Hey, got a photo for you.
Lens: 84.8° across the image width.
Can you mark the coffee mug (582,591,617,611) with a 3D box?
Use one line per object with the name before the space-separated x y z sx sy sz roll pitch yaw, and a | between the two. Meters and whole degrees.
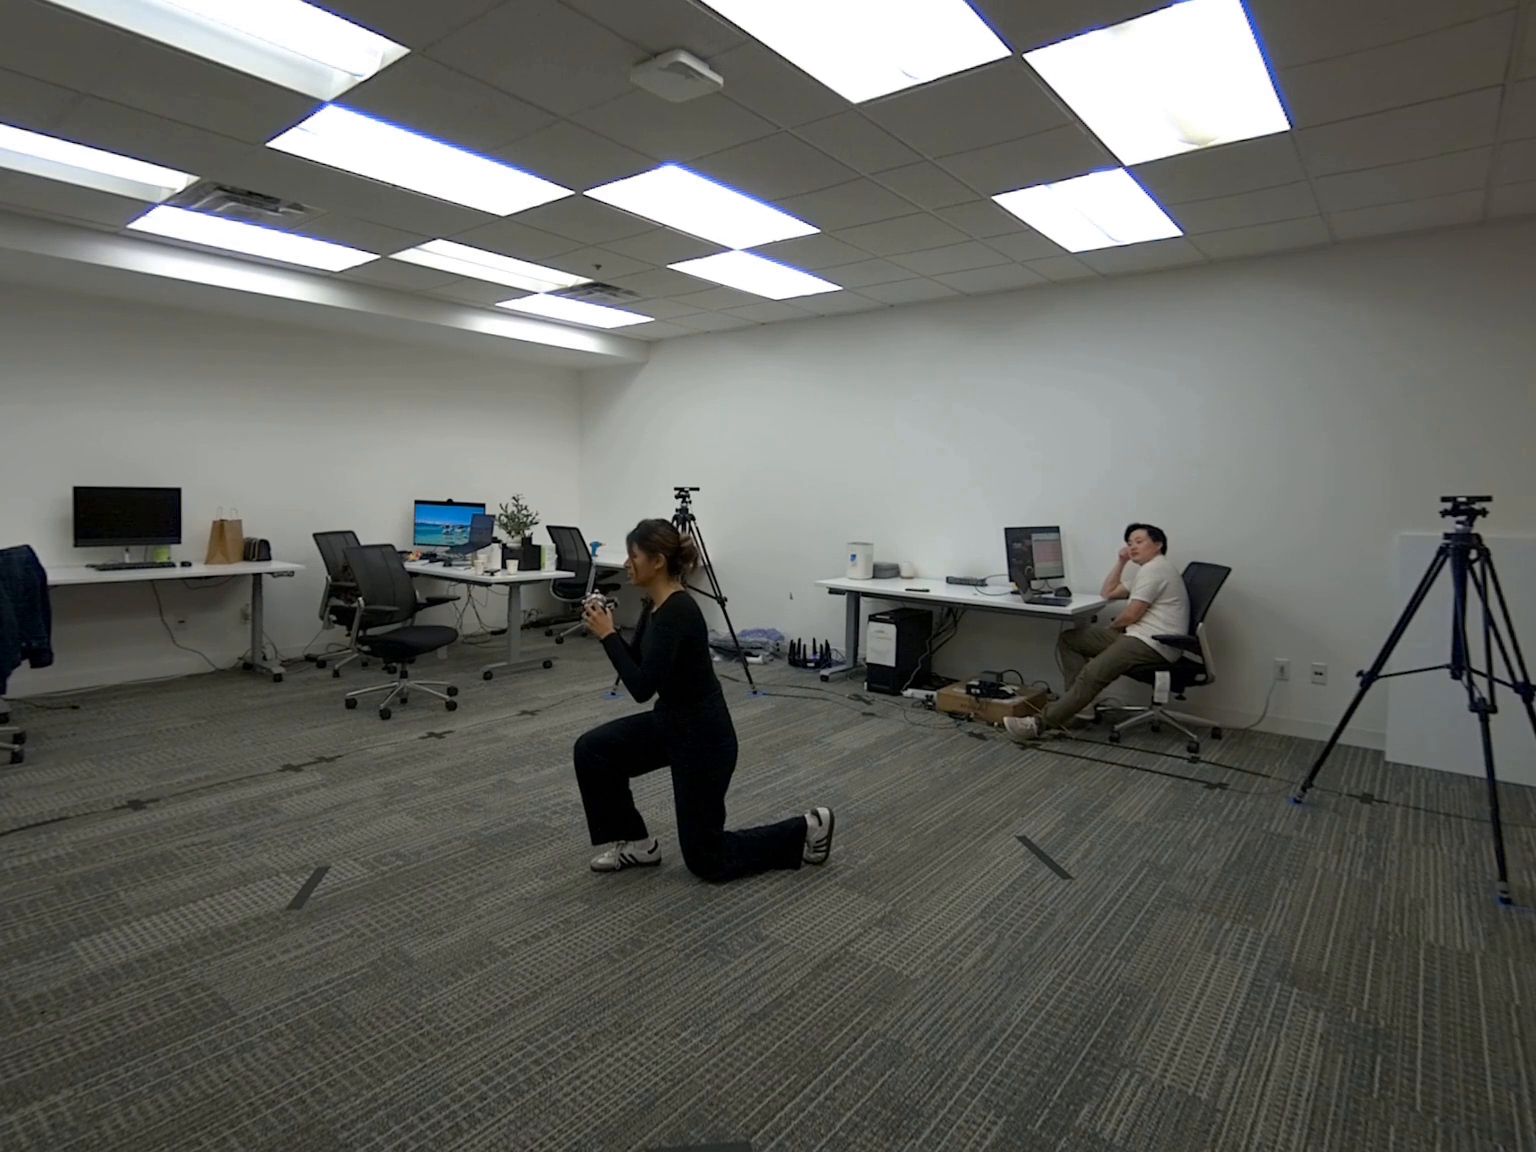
coffee mug | -0.627 0.098 3.050 0.122 0.086 0.207 -40 14 -9
